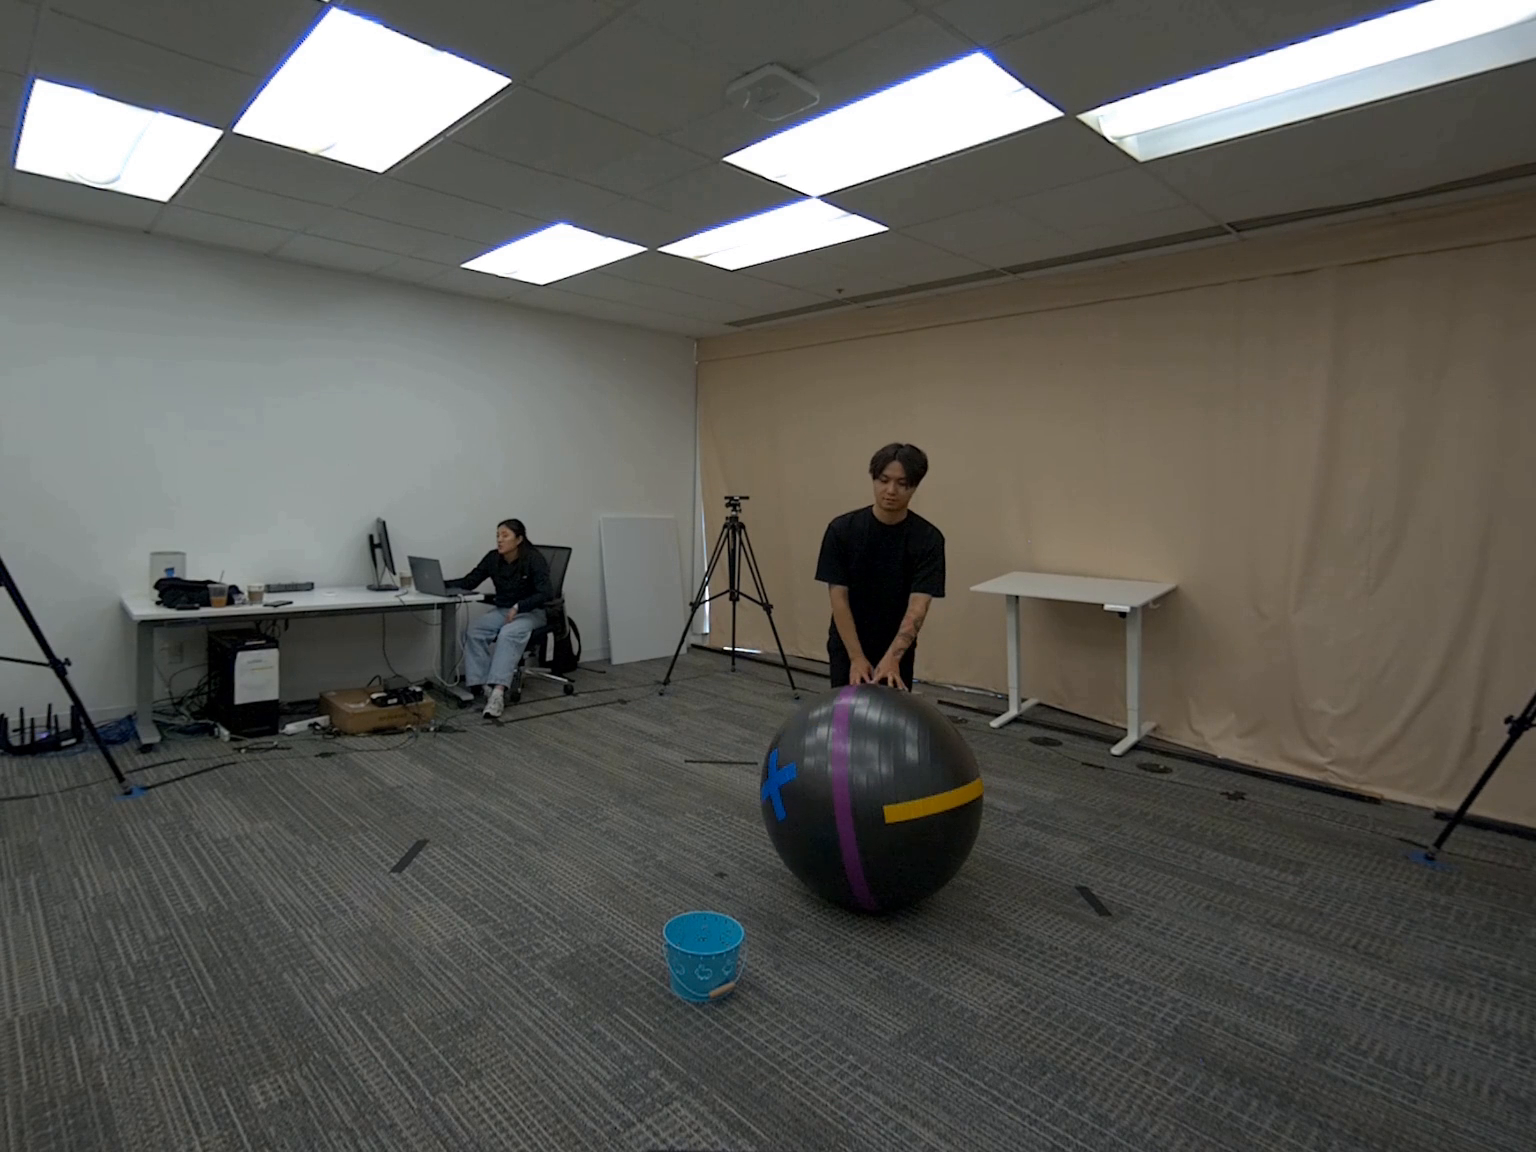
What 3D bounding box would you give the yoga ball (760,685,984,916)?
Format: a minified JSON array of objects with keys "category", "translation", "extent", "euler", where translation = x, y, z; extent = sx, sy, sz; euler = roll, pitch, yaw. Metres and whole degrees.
[{"category":"yoga ball","translation":[0.349,0.766,2.933],"extent":[0.757,0.756,0.761],"euler":[1,4,-1]}]
